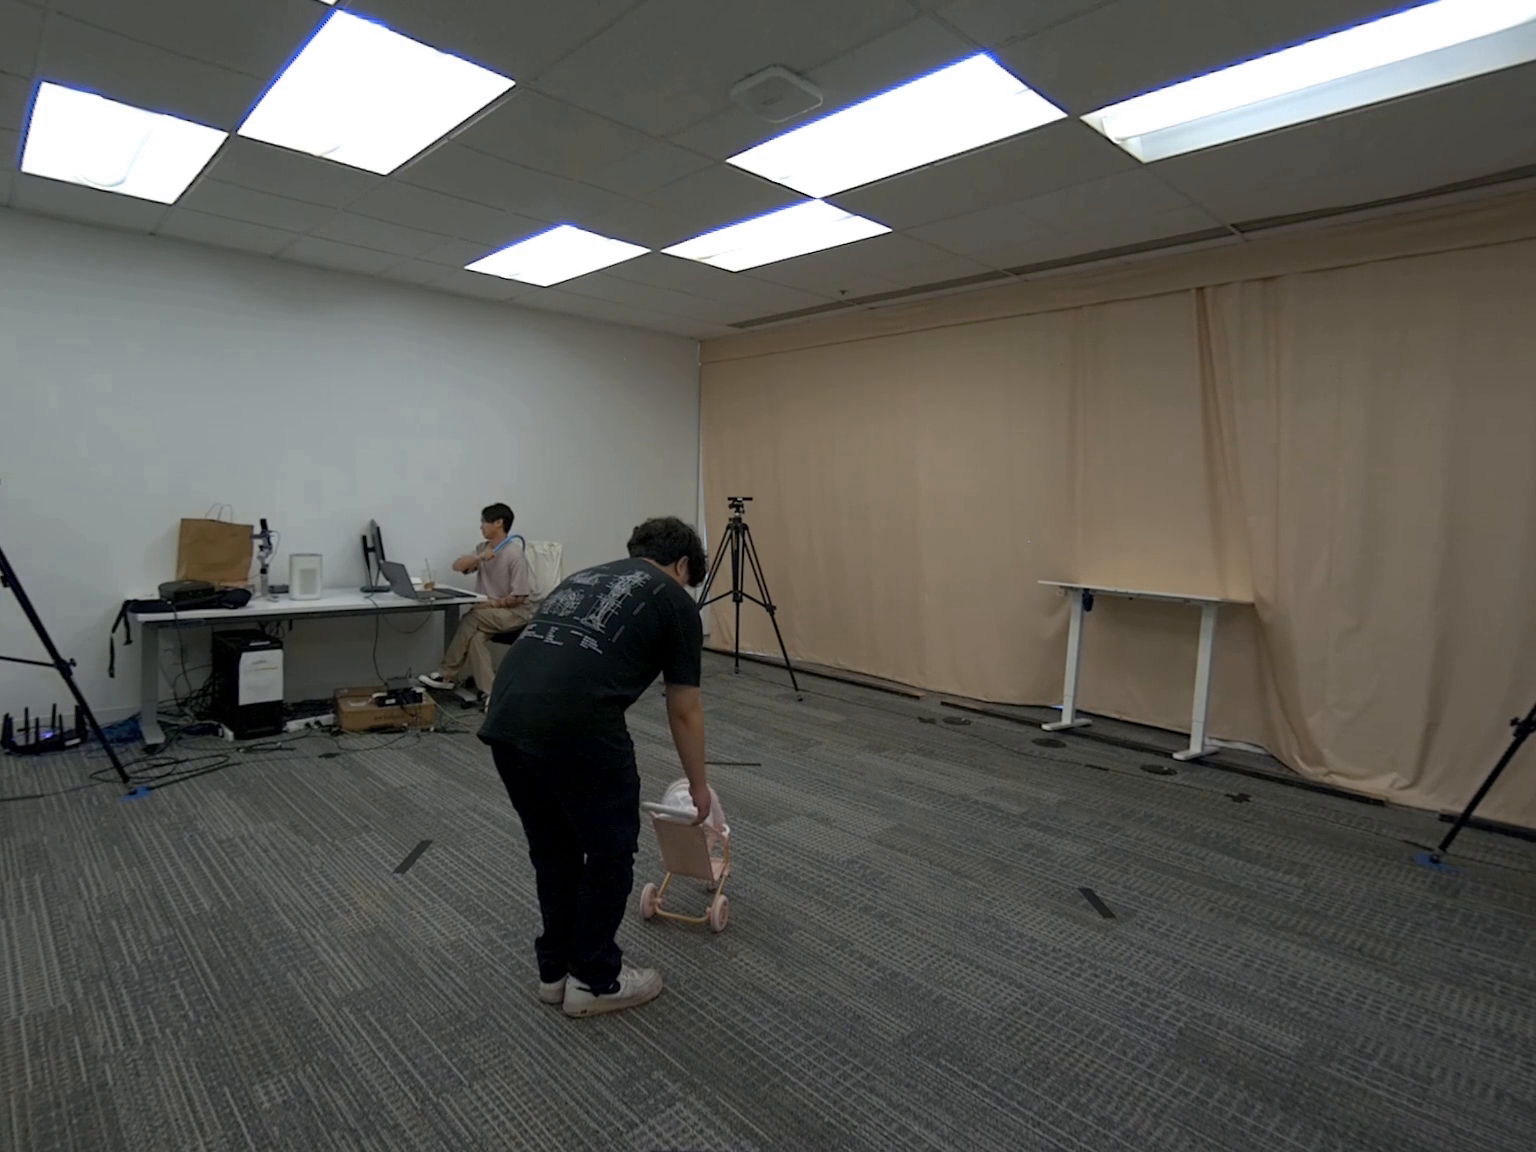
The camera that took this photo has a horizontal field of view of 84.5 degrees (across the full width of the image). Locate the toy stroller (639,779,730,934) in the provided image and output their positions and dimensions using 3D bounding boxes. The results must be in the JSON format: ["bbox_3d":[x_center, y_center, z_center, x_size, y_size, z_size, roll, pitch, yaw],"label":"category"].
[{"bbox_3d":[-0.254,0.908,2.801,0.286,0.528,0.340,4,19,22],"label":"toy stroller"}]
